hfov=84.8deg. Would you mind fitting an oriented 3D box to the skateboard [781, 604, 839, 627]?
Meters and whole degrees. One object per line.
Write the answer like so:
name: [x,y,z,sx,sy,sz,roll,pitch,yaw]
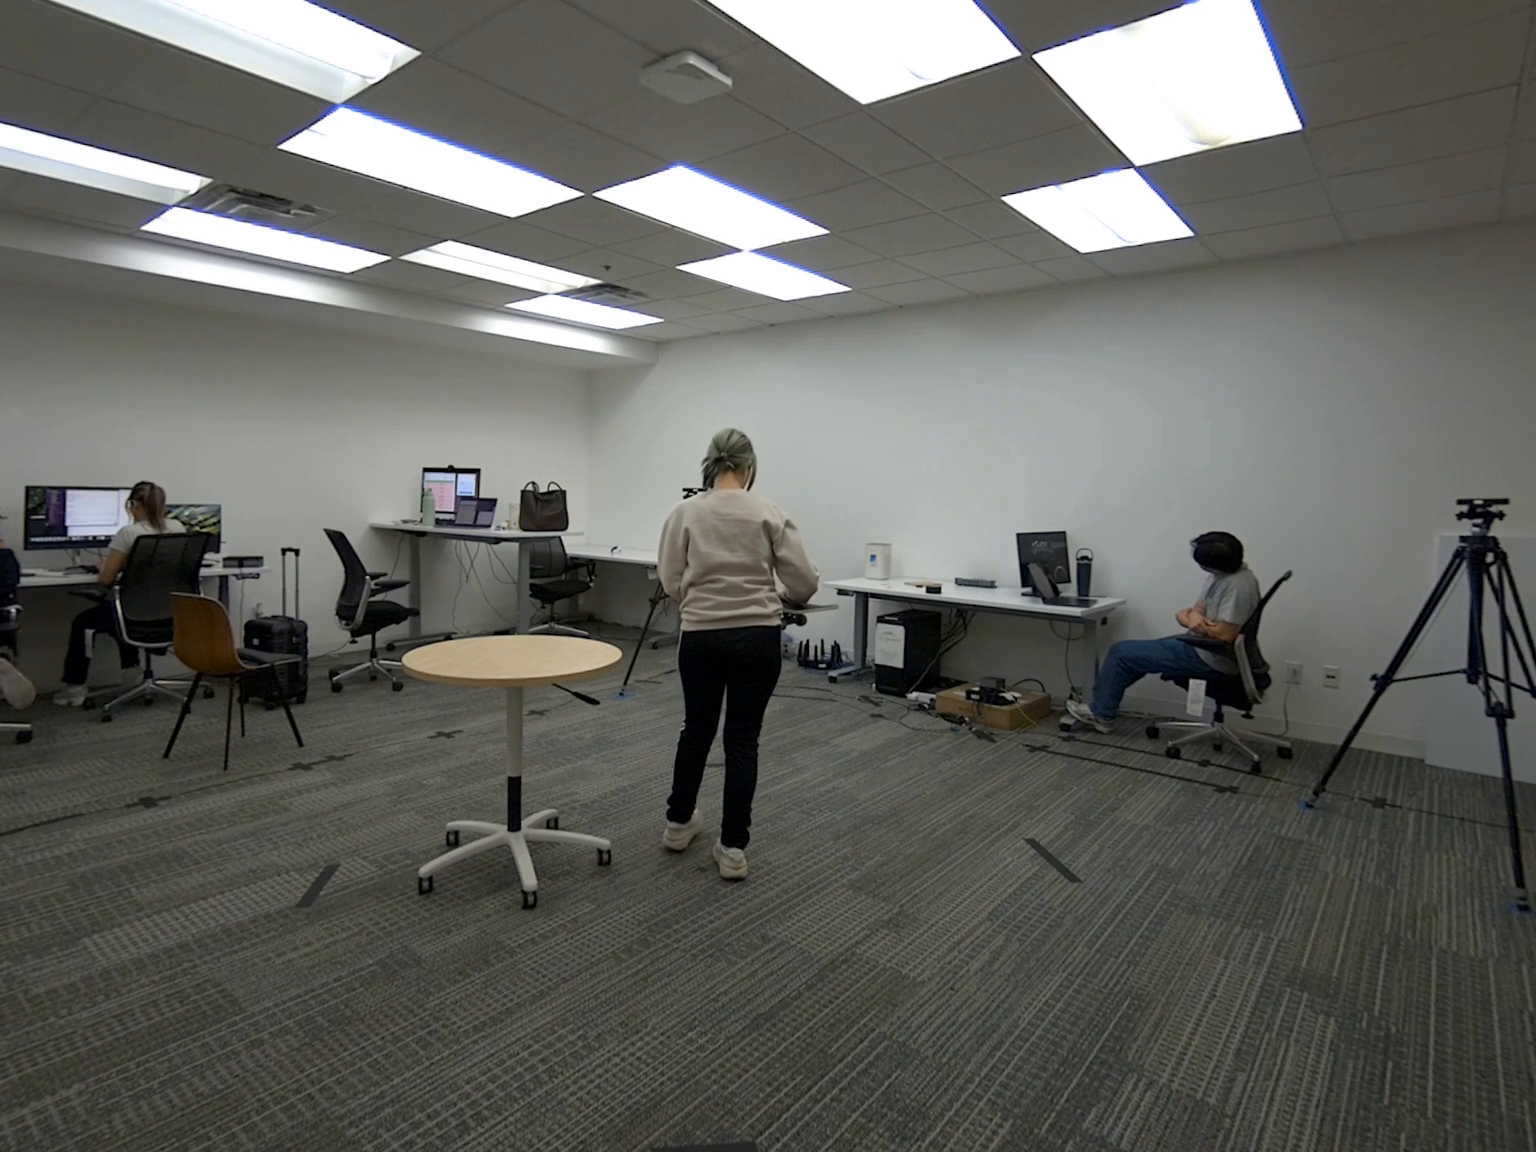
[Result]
skateboard: [-0.077,0.133,3.418,0.811,0.110,0.188,7,7,34]
